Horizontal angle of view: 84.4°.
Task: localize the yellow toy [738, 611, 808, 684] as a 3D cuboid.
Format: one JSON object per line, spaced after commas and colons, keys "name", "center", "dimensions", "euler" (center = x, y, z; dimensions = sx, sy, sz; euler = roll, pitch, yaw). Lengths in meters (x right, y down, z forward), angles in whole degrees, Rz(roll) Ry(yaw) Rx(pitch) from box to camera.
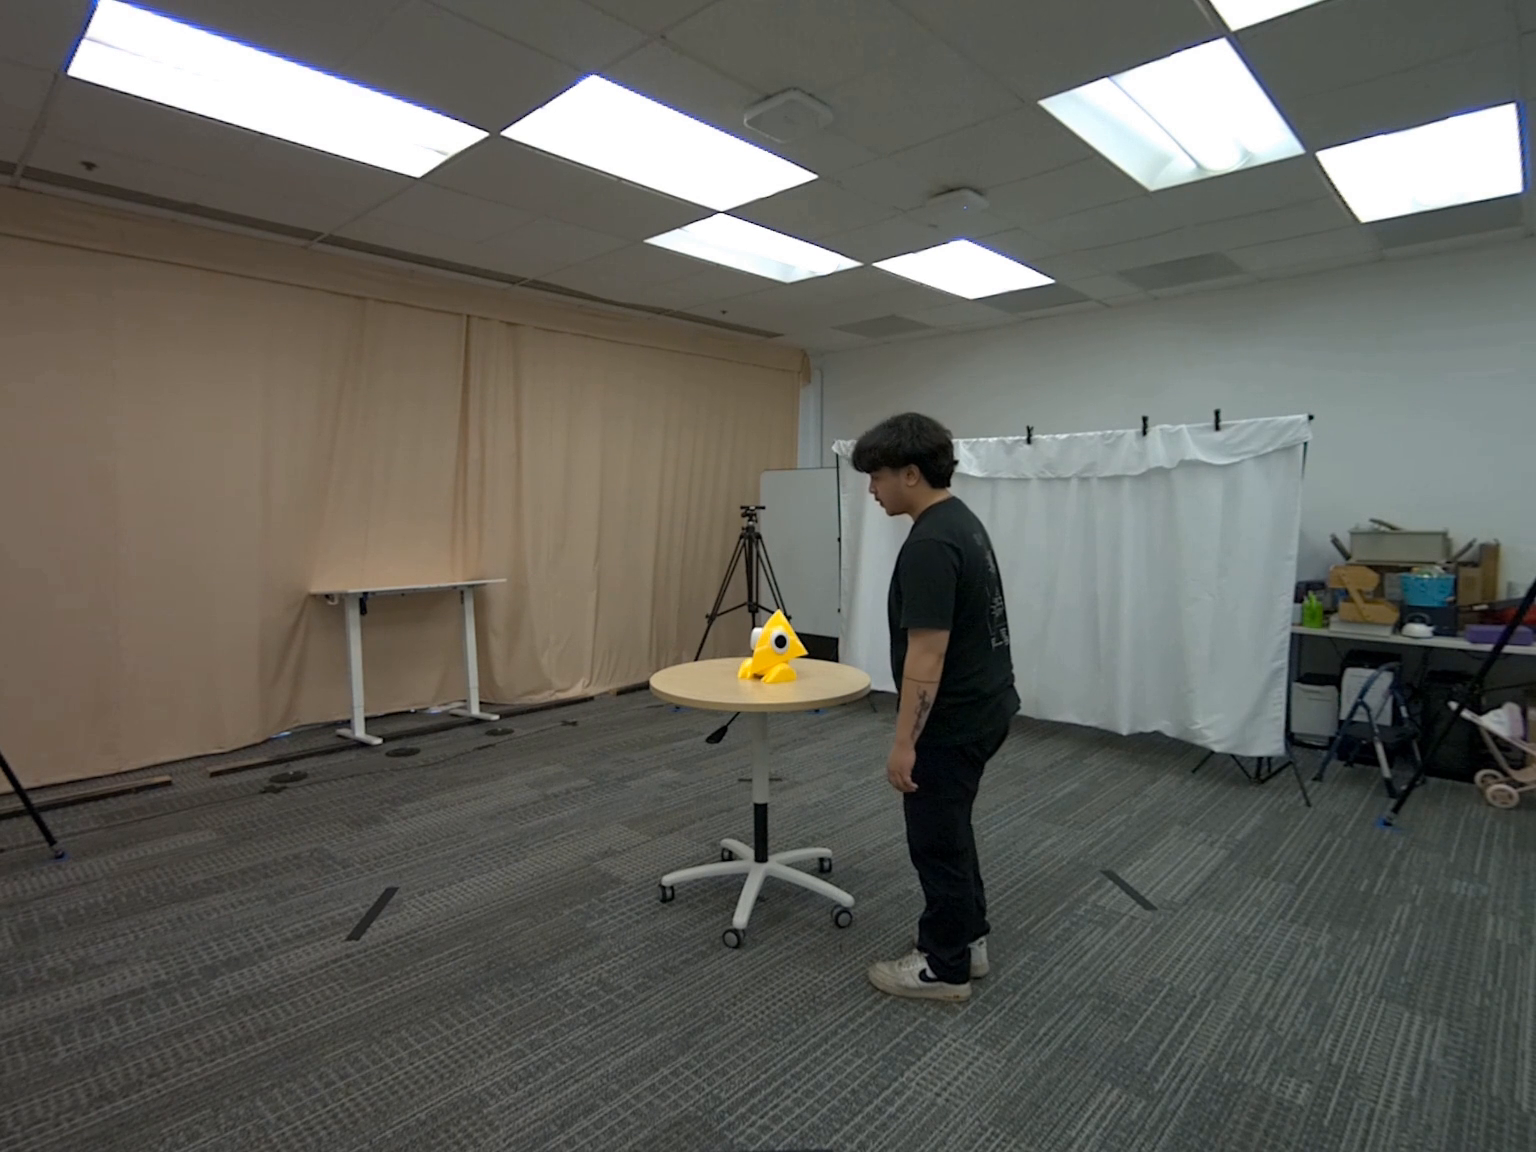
{"name": "yellow toy", "center": [0.005, 0.240, 2.940], "dimensions": [0.211, 0.230, 0.187], "euler": [3, 6, 41]}
